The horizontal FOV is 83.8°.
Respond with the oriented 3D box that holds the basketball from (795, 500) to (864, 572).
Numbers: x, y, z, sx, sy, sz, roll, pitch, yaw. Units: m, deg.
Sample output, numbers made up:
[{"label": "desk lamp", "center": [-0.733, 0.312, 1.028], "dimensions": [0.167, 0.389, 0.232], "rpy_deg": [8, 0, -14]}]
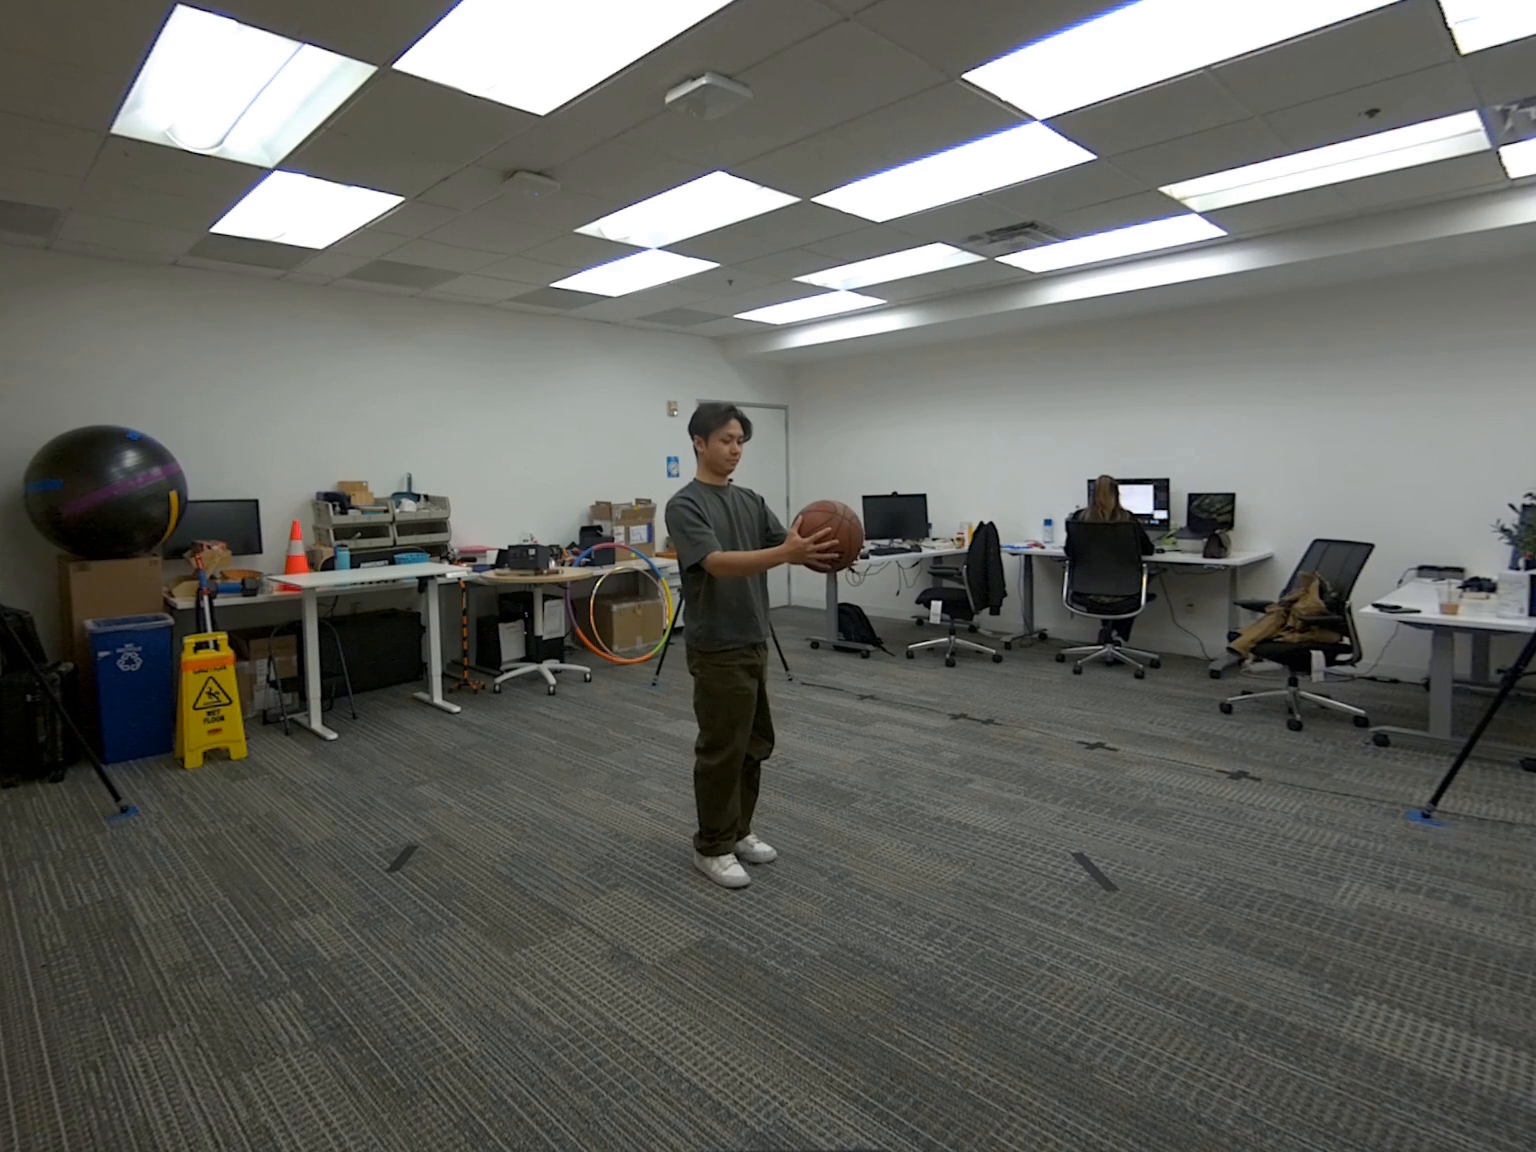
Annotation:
[{"label": "basketball", "center": [0.187, -0.123, 2.771], "dimensions": [0.236, 0.235, 0.237], "rpy_deg": [-1, 5, -2]}]
